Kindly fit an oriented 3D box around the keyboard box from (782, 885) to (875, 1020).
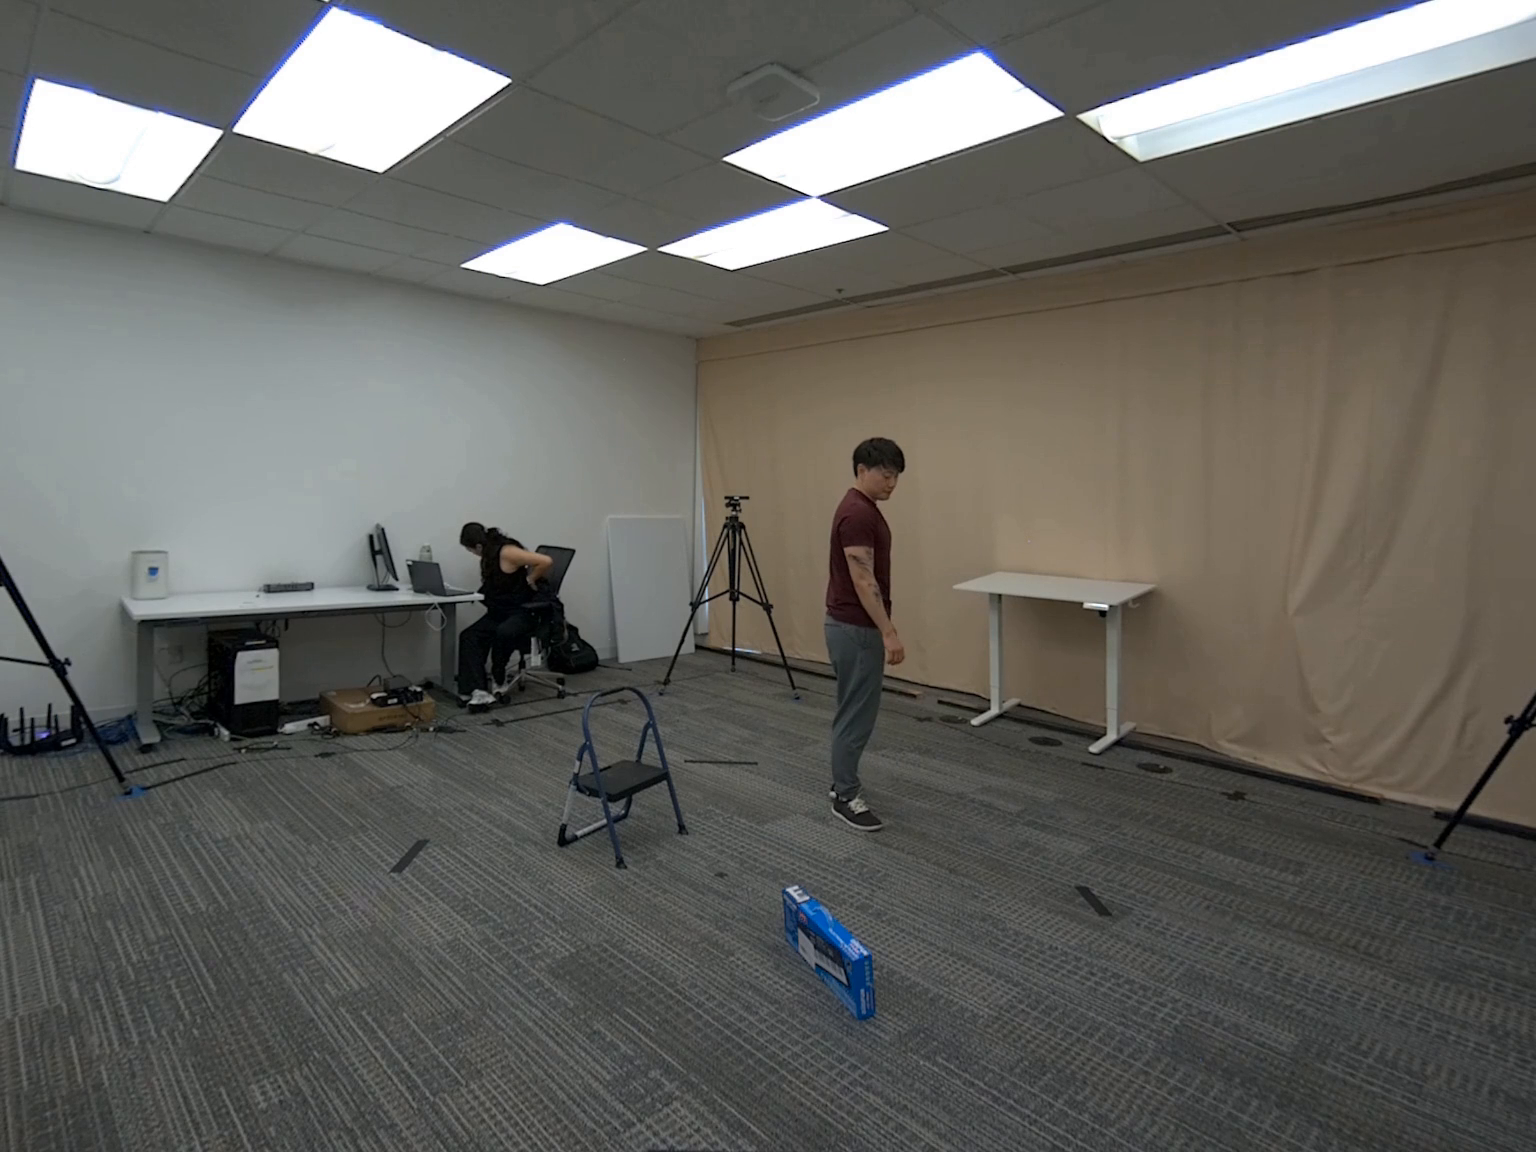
[{"bbox_3d":[0.161,1.085,2.460,0.058,0.175,0.446,-7,8,-23],"label":"keyboard box"}]
